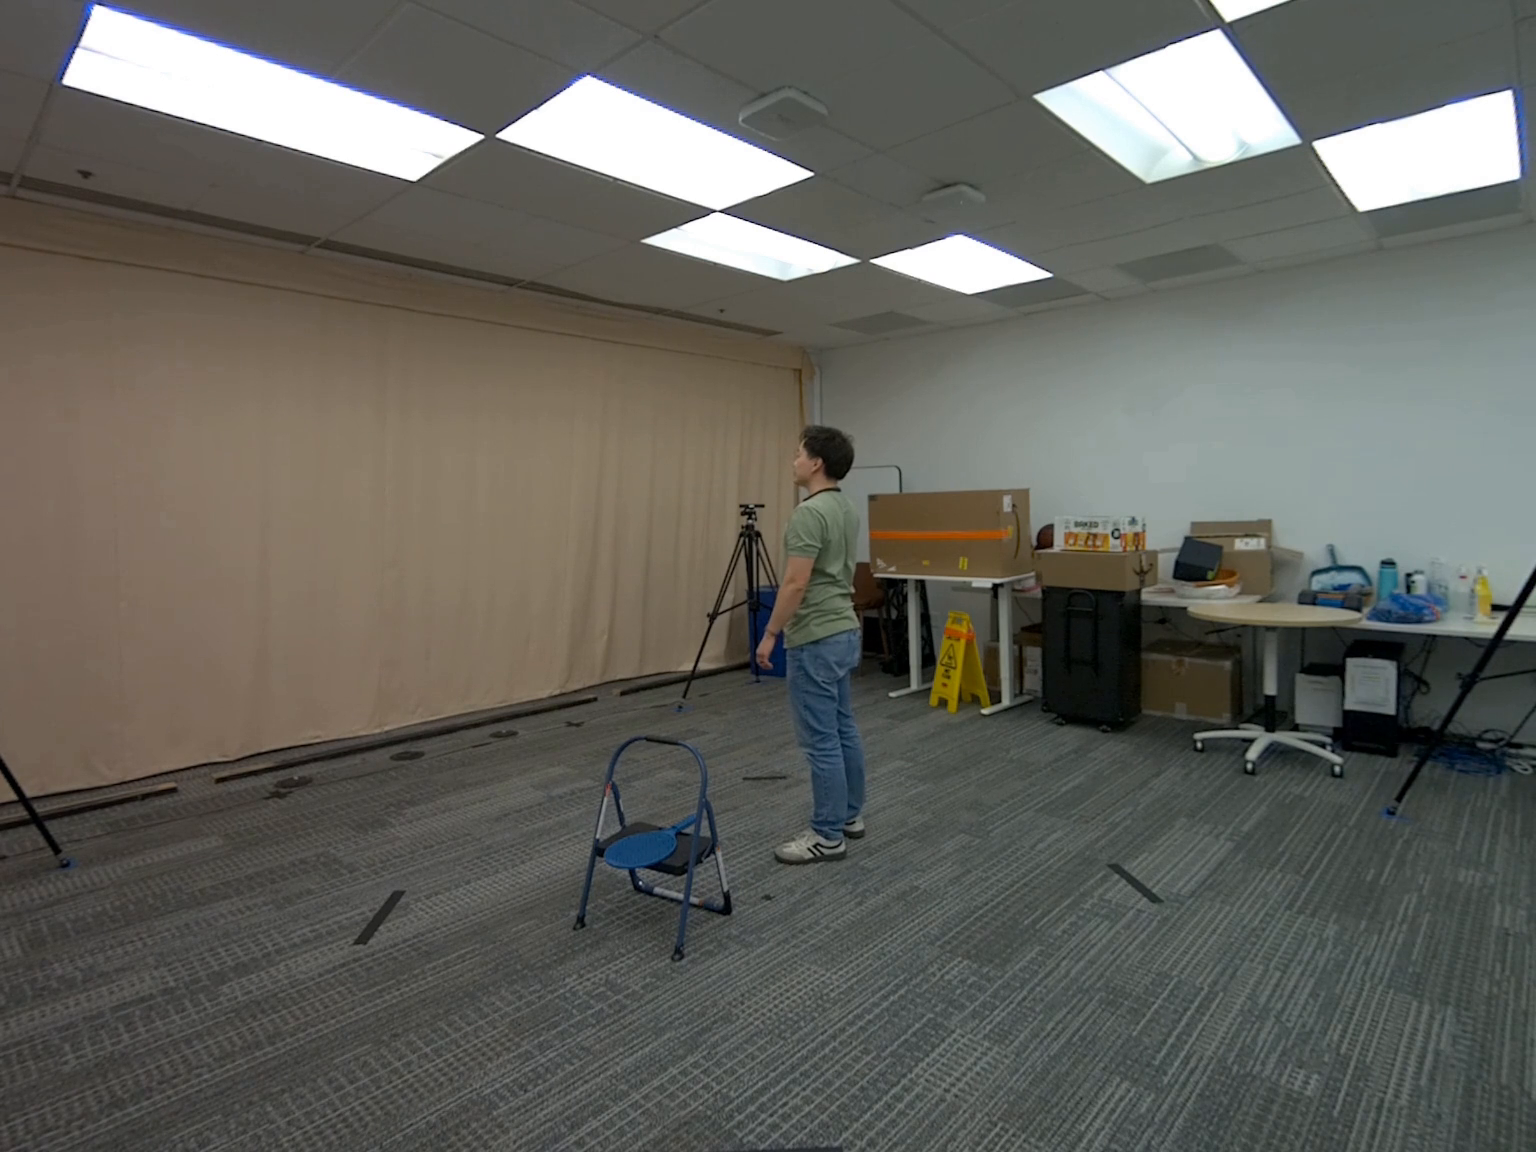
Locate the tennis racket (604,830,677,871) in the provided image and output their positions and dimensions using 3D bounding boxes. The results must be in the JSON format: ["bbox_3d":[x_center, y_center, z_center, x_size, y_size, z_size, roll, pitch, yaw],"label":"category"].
[{"bbox_3d":[-0.377,0.890,2.826,0.220,0.031,0.422,1,8,32],"label":"tennis racket"}]
